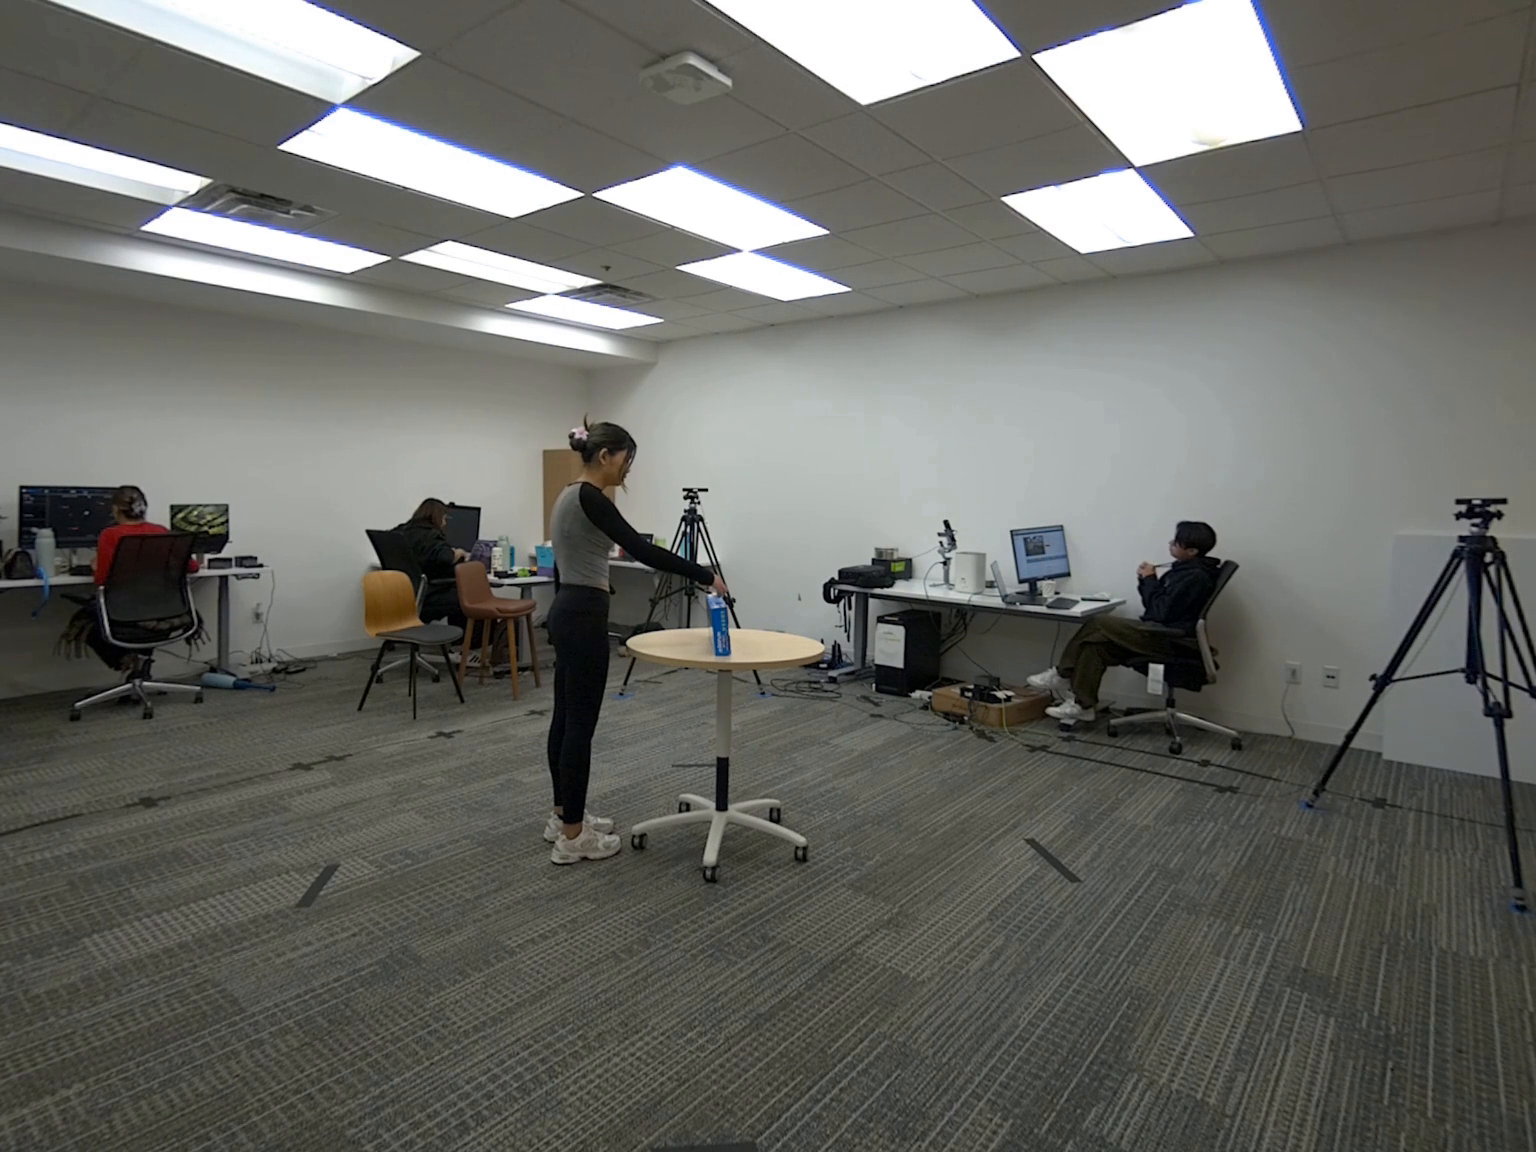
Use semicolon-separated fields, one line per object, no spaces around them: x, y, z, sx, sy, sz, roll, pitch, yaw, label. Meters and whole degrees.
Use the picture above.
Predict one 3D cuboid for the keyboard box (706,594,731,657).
-0.209;0.170;3.237;0.059;0.175;0.442;-4;5;-8;keyboard box
